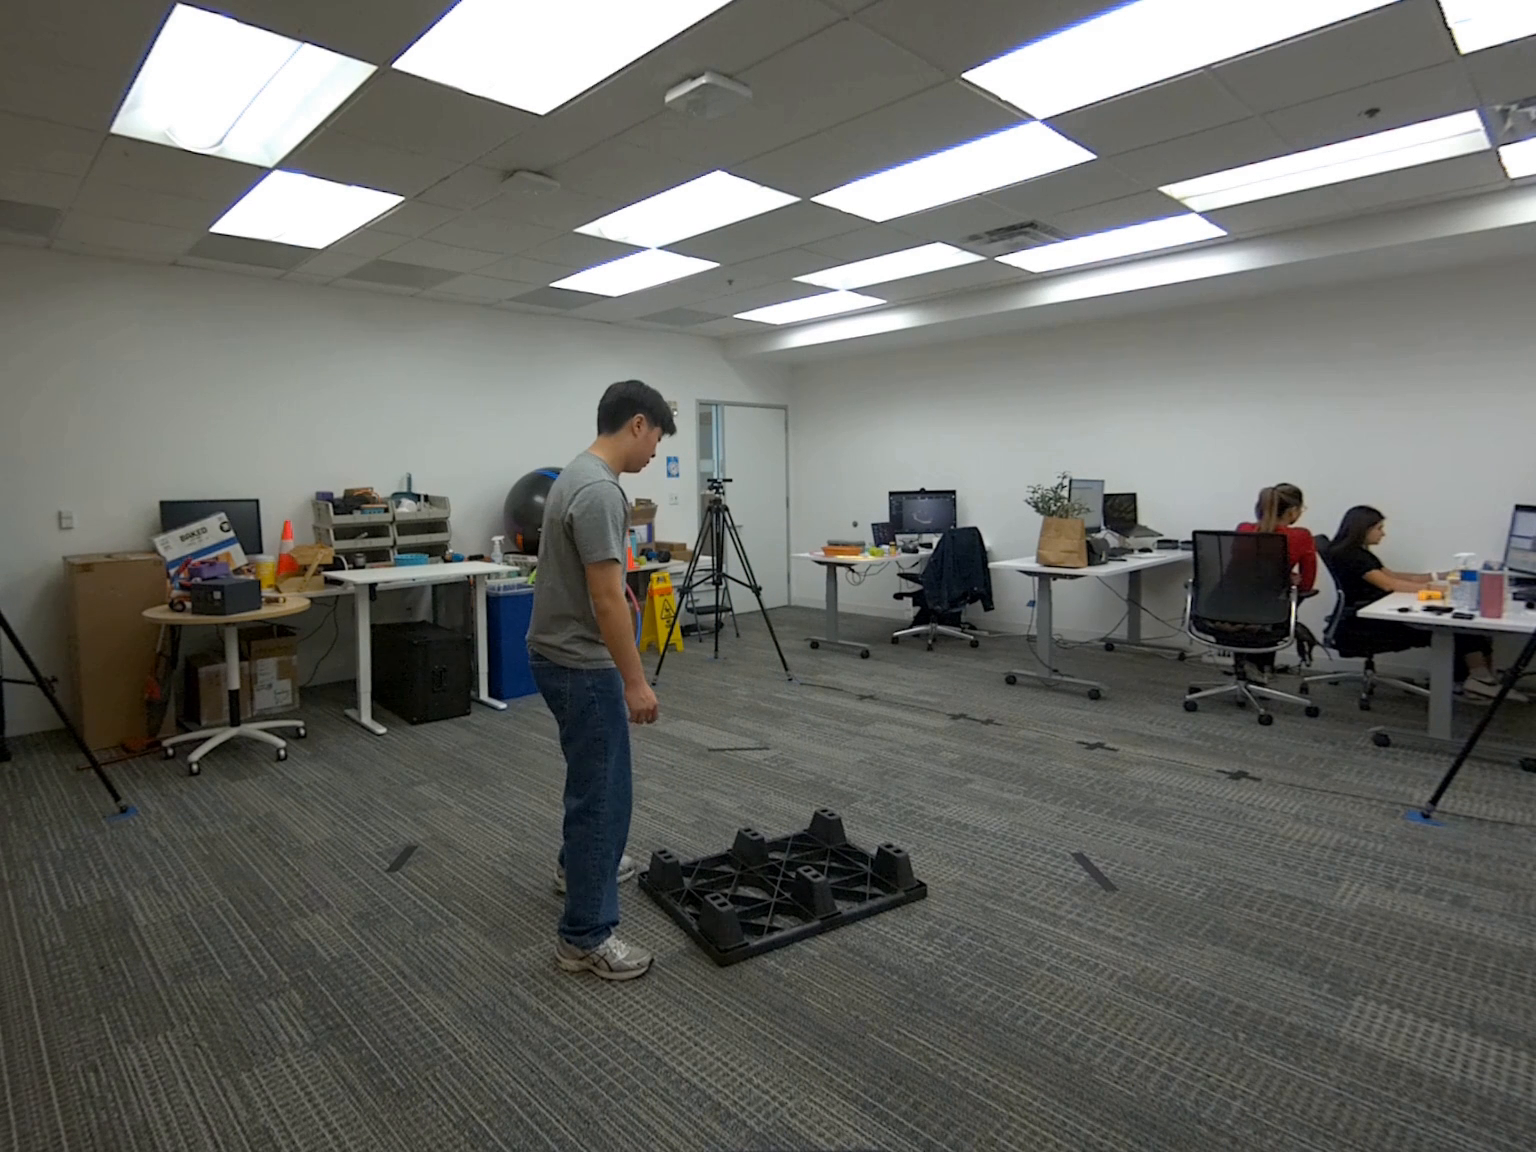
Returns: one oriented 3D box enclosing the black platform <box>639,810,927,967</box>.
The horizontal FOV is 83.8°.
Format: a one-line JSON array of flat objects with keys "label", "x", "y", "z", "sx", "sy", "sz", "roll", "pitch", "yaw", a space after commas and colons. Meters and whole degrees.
[{"label": "black platform", "x": 0.046, "y": 1.002, "z": 2.898, "sx": 0.786, "sy": 0.142, "sz": 0.623, "roll": -5, "pitch": 8, "yaw": -32}]
